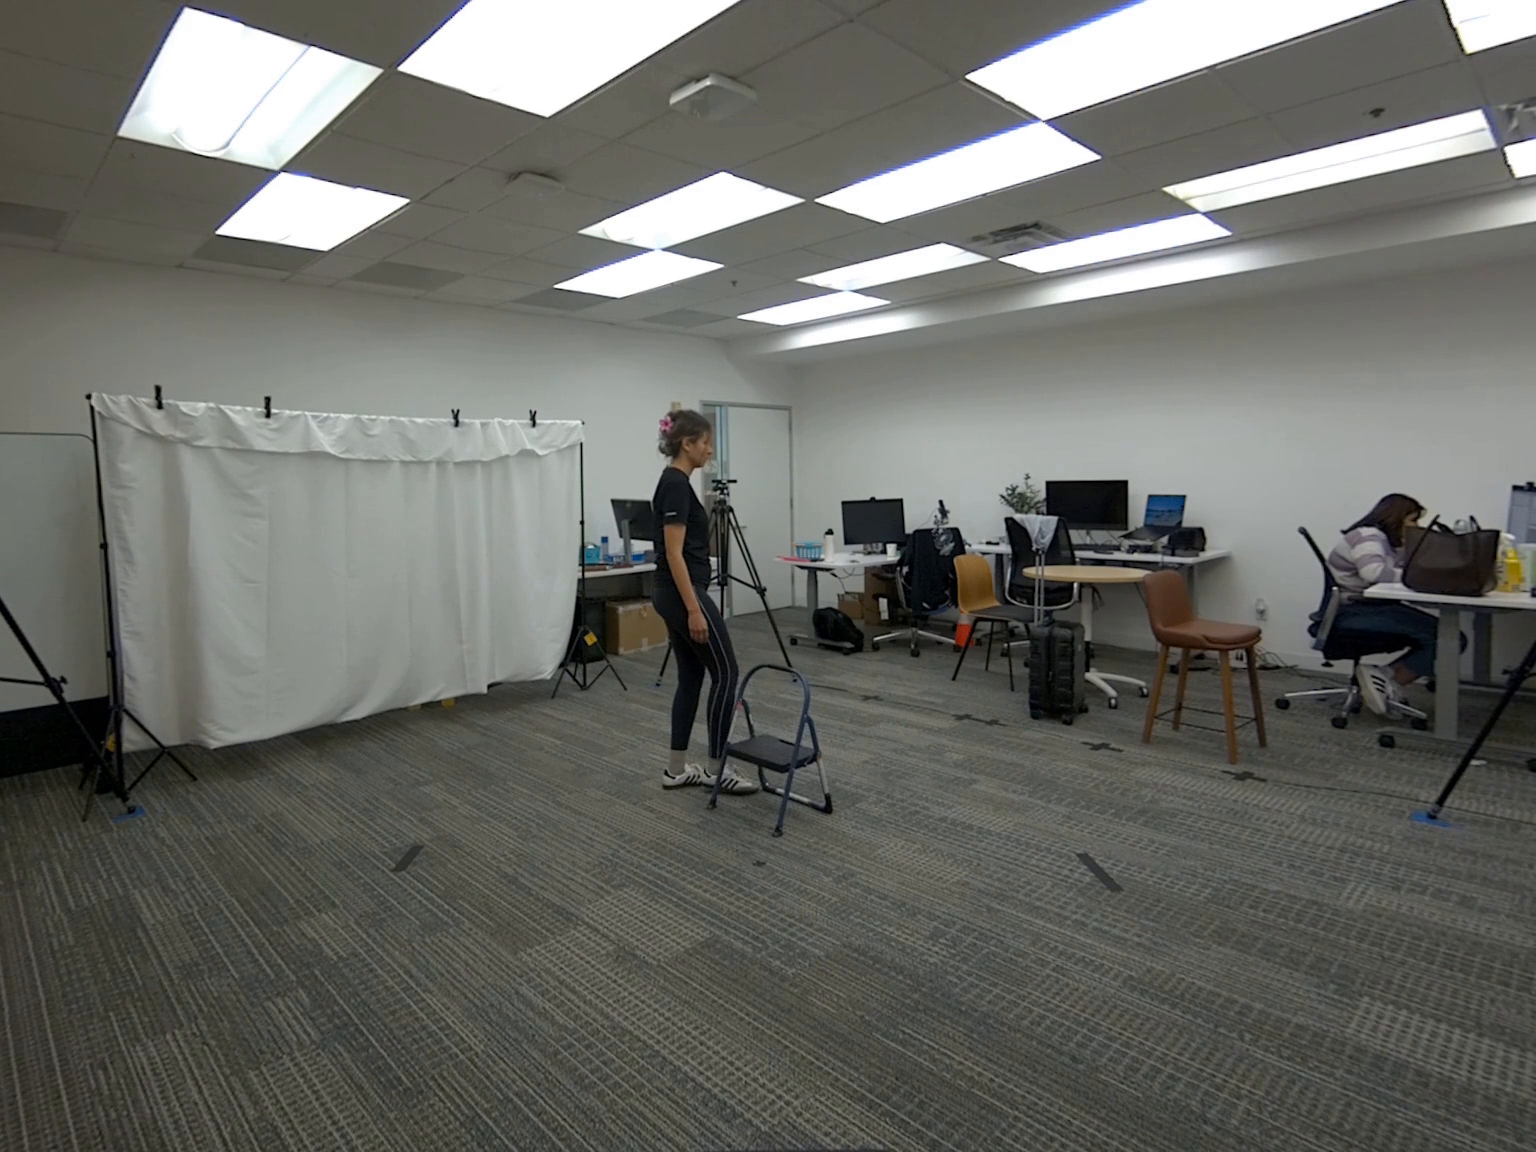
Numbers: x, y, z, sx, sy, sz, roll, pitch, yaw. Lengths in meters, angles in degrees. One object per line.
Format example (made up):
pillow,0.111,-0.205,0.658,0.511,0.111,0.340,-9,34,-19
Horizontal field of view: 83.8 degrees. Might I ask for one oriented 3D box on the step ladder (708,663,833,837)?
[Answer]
step ladder,0.007,0.690,3.585,0.340,0.604,0.444,-5,6,-43
